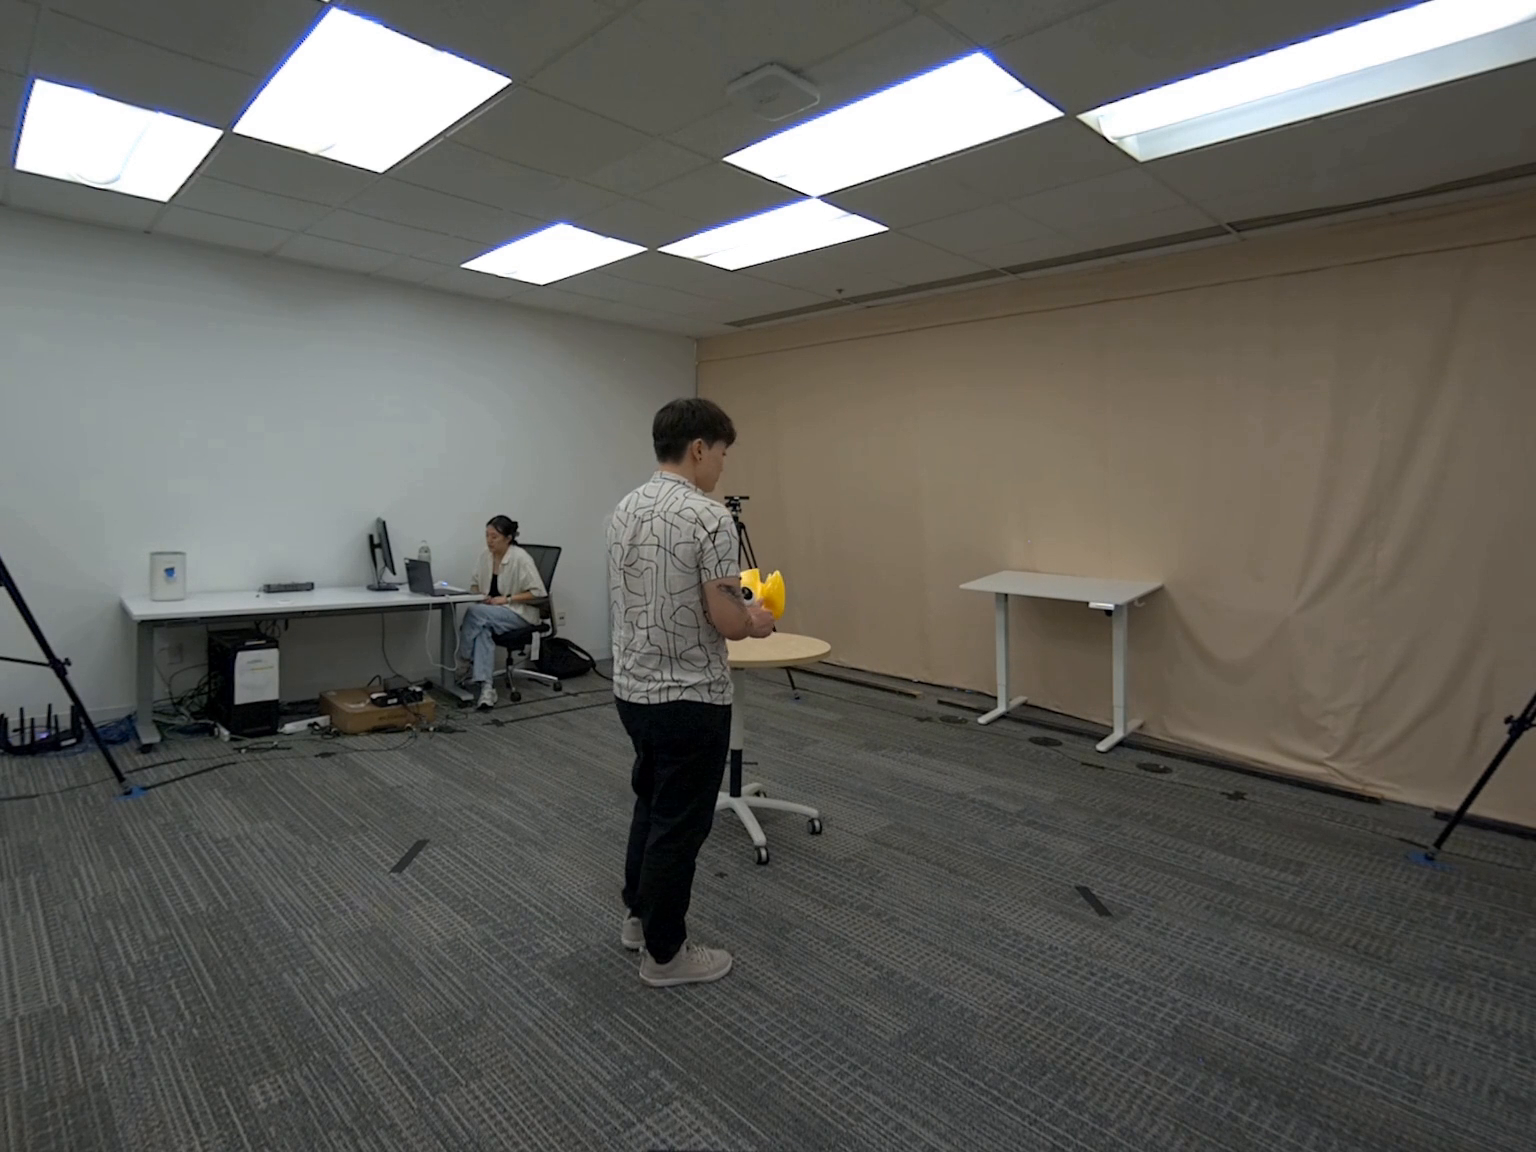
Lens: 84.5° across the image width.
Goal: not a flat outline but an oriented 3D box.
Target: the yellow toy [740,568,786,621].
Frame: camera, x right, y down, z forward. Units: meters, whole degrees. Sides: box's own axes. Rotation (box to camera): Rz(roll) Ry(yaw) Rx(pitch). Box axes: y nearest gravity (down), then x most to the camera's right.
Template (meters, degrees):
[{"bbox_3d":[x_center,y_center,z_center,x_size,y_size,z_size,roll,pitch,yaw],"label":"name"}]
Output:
[{"bbox_3d":[-0.102,0.070,2.551,0.225,0.194,0.209,7,-6,-42],"label":"yellow toy"}]
